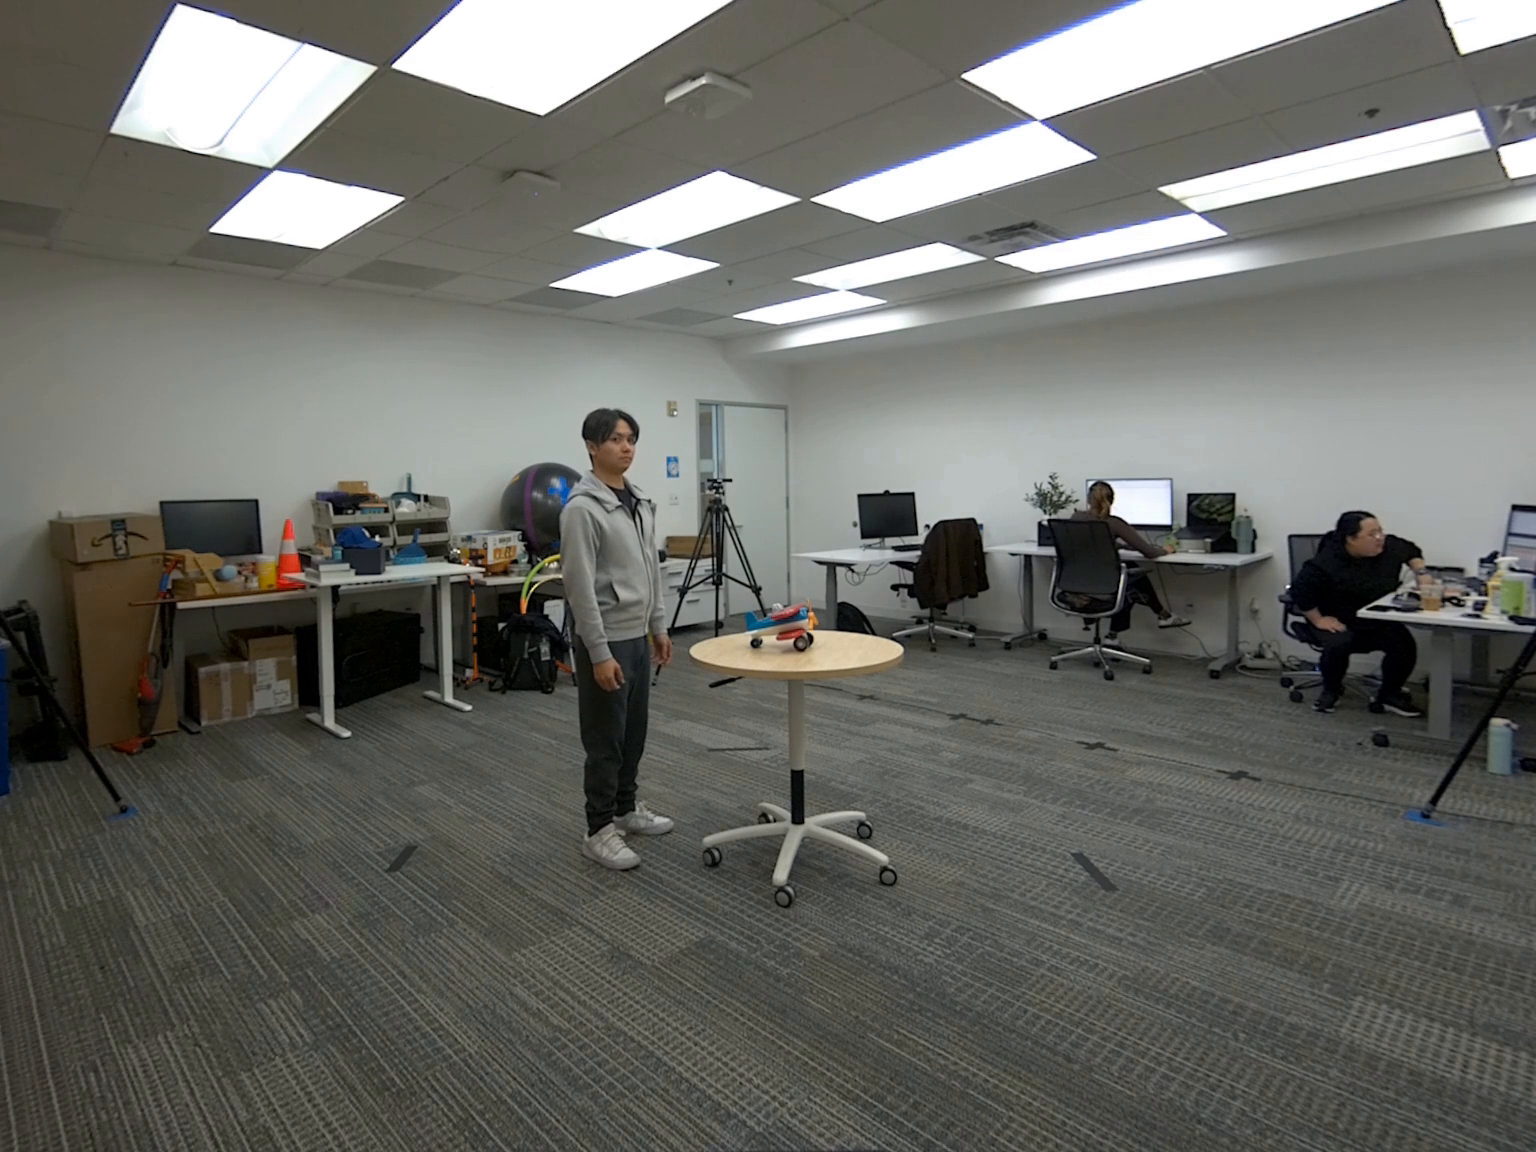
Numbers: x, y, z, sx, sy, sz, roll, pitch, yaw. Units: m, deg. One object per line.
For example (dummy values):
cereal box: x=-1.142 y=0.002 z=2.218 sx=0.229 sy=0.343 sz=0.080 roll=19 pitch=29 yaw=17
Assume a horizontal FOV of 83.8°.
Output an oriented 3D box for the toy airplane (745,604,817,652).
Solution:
toy airplane: x=0.037 y=0.186 z=3.069 sx=0.256 sy=0.156 sz=0.255 roll=-3 pitch=5 yaw=-12
